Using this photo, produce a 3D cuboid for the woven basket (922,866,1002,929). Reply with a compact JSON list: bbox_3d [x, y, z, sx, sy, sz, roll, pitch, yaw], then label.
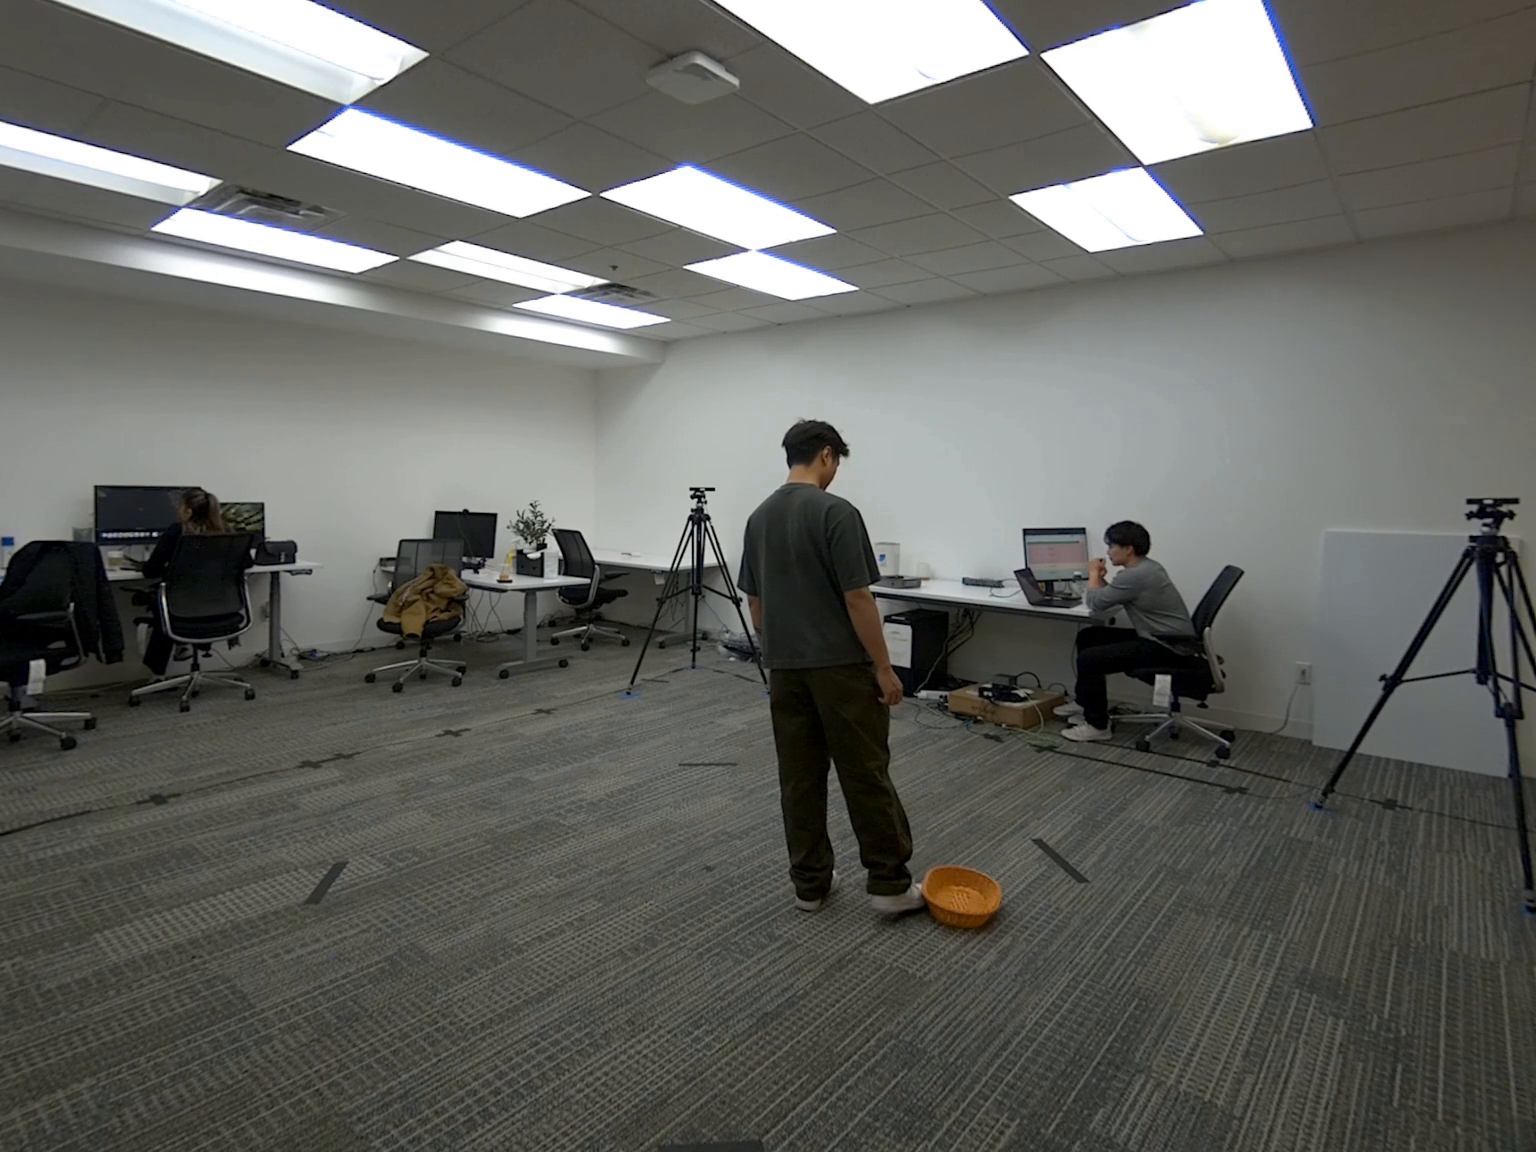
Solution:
[{"bbox_3d":[0.641,1.077,2.847,0.259,0.073,0.343,6,7,23],"label":"woven basket"}]
